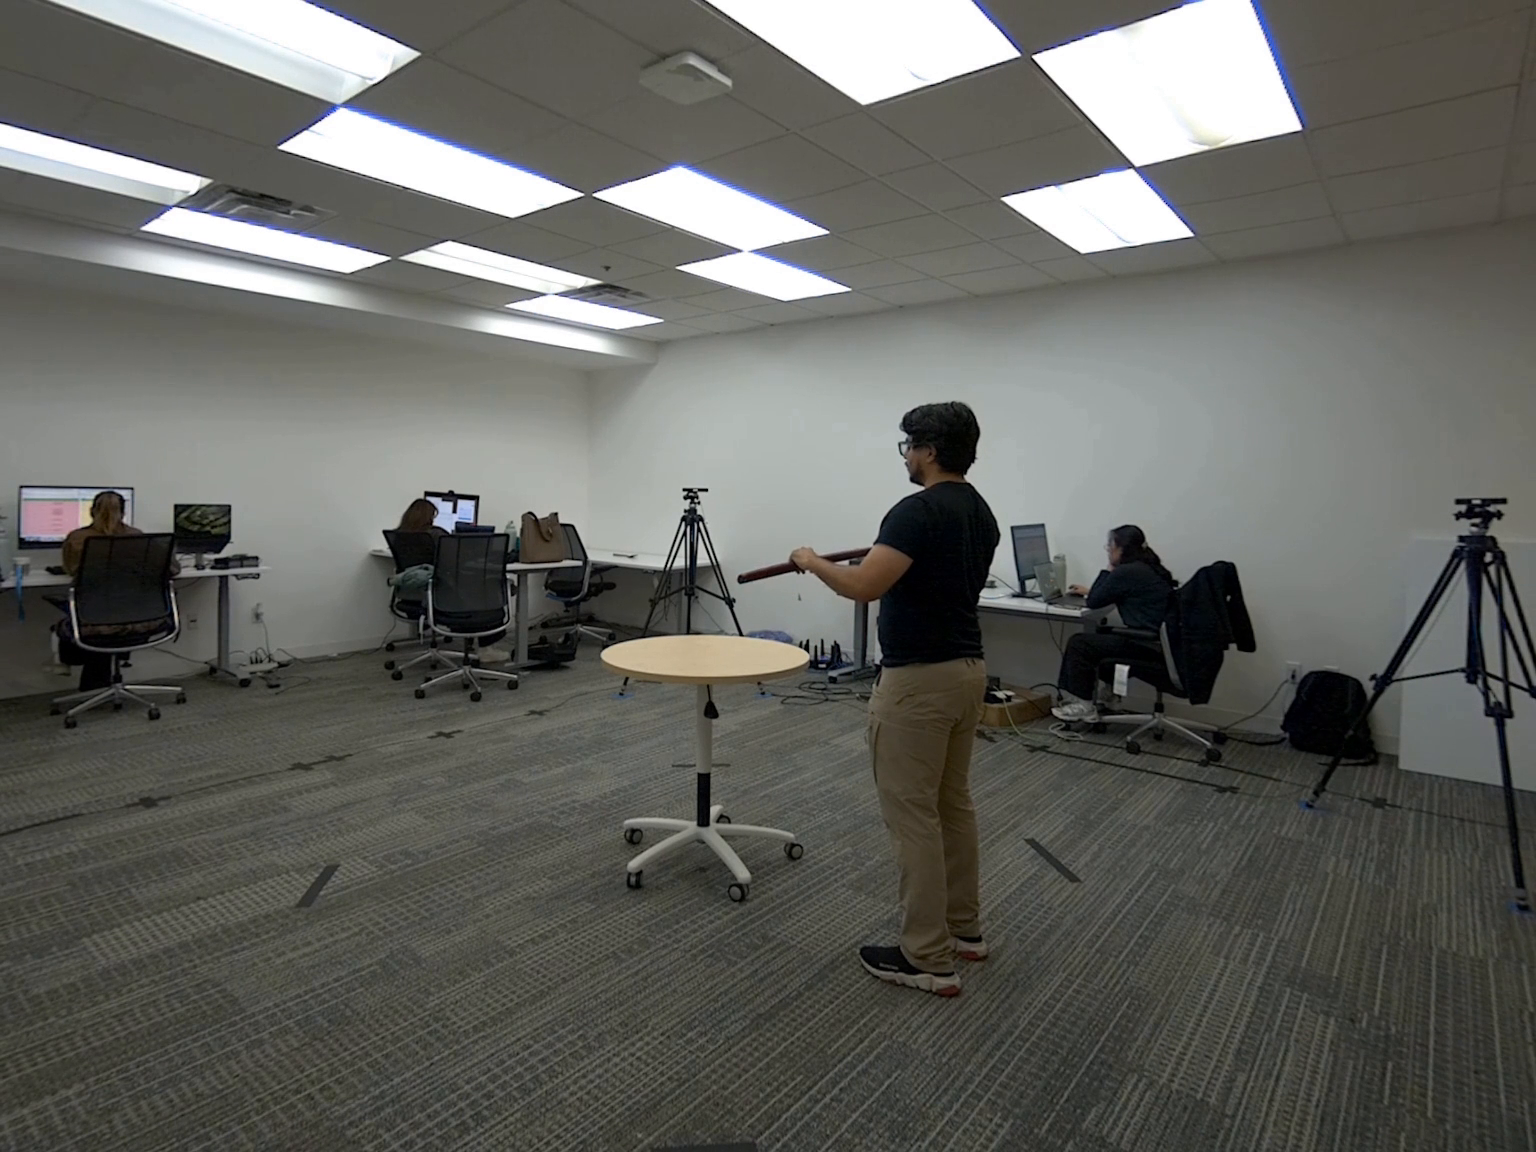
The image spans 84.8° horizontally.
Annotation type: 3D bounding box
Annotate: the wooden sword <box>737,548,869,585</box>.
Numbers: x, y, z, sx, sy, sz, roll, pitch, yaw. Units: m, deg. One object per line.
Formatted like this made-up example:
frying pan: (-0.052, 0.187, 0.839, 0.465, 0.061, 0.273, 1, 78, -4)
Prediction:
wooden sword: (0.285, -0.076, 2.813, 0.998, 0.050, 0.025, -9, 41, -36)
